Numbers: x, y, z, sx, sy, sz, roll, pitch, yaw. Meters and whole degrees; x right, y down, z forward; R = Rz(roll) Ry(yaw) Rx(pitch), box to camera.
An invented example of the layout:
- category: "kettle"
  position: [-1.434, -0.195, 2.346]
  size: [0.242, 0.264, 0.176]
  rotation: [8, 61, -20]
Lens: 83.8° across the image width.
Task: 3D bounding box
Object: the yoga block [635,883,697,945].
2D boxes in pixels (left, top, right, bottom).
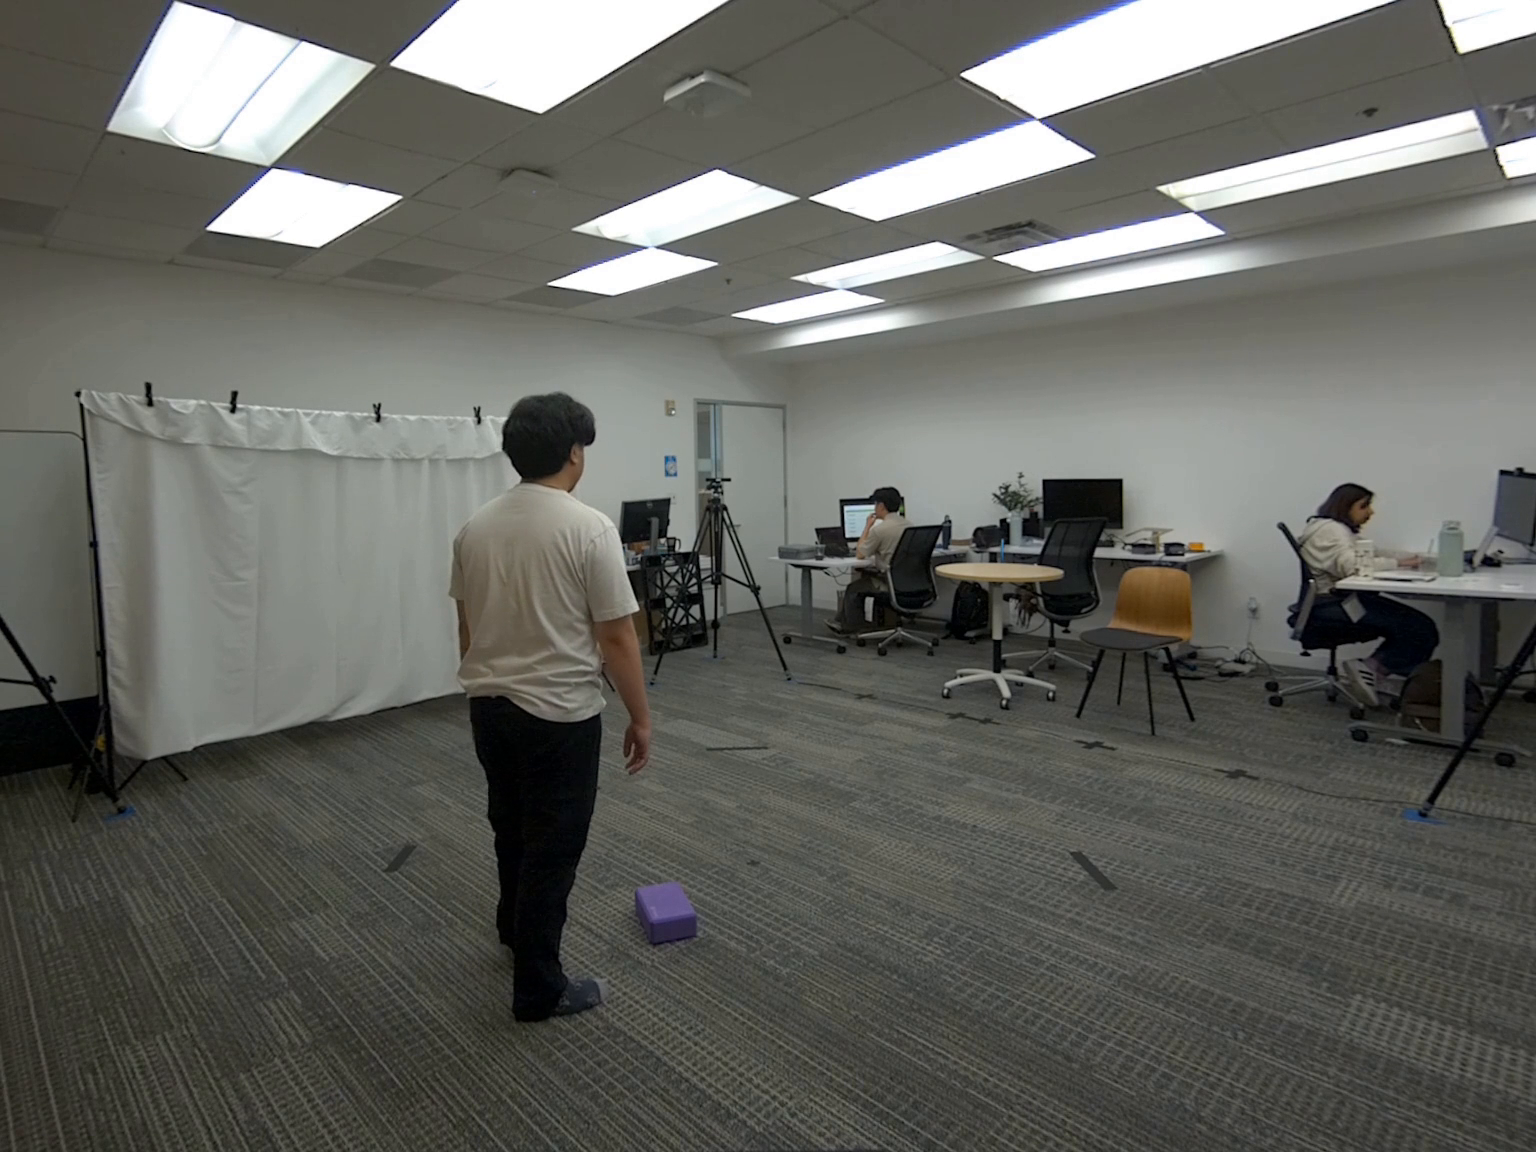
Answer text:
- category: "yoga block"
  position: [-0.318, 1.056, 2.690]
  size: [0.146, 0.076, 0.234]
  rotation: [-3, 7, -19]
